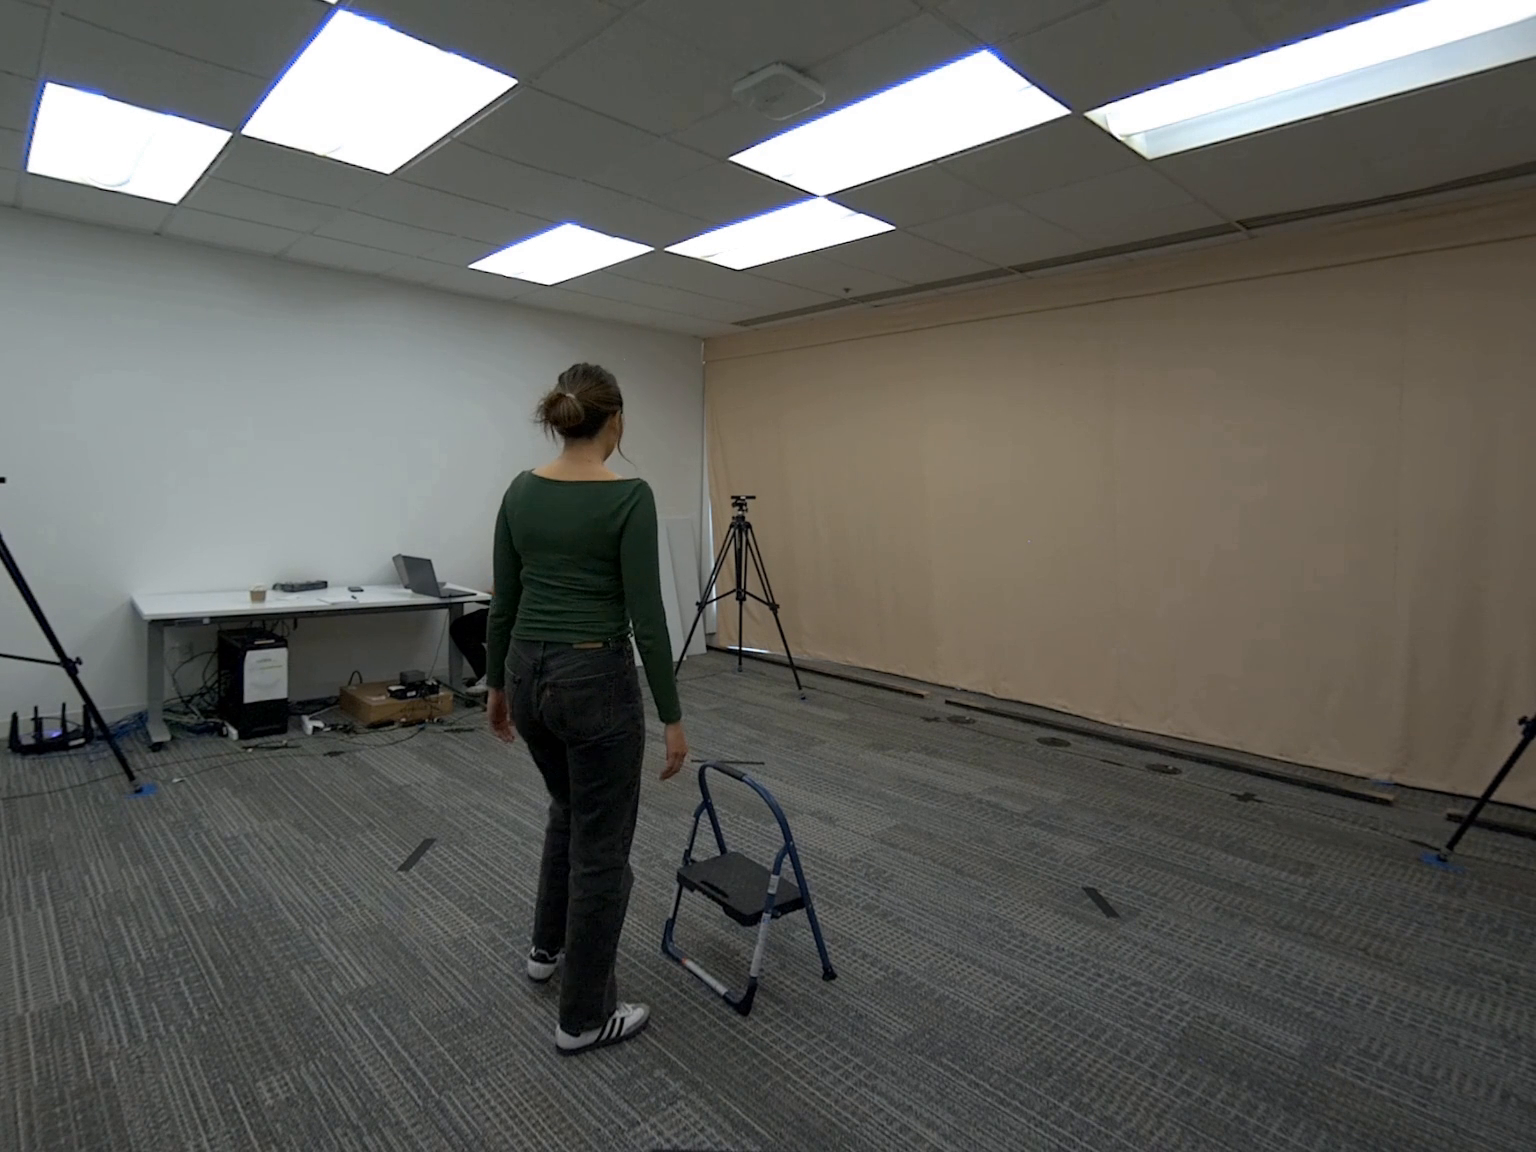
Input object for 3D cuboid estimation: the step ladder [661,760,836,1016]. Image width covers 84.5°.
[{"bbox_3d":[-0.063,0.857,2.497,0.341,0.604,0.441,-2,5,-40],"label":"step ladder"}]
